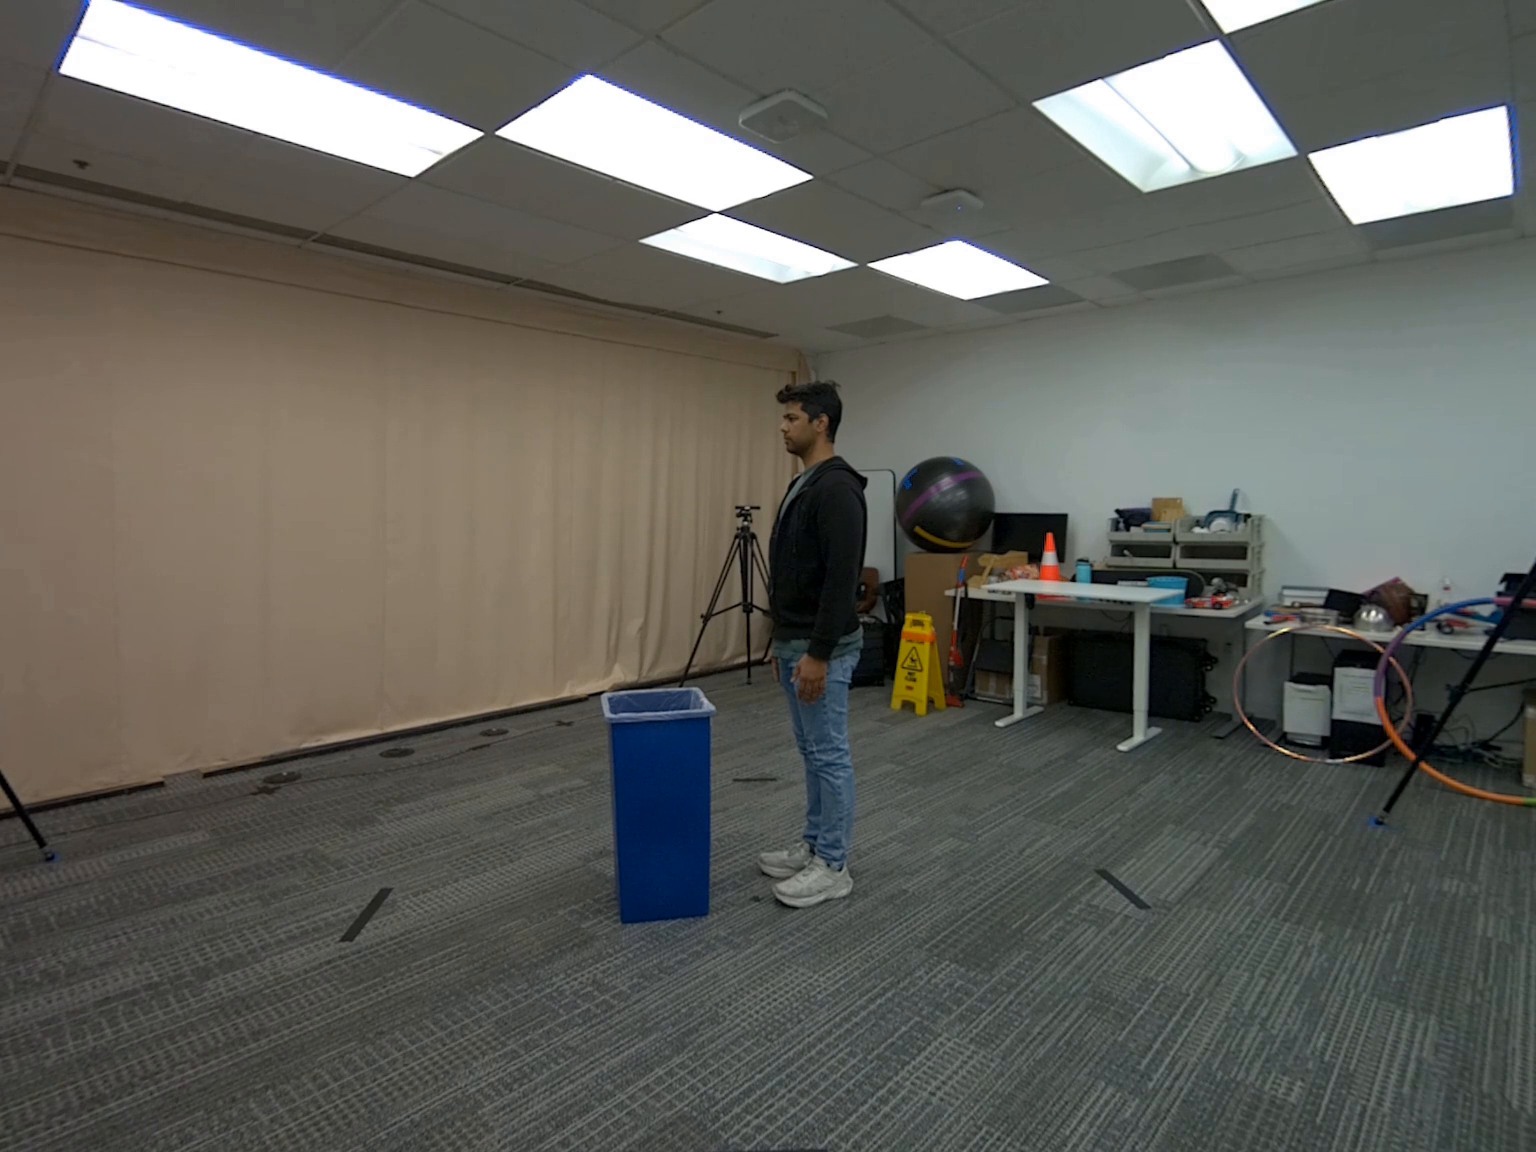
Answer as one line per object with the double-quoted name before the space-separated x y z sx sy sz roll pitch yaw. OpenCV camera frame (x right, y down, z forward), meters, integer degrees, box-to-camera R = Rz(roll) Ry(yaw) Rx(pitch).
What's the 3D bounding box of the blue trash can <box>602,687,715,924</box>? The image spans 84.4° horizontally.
"blue trash can" -0.390 0.793 2.963 0.369 0.712 0.383 -1 3 -13
